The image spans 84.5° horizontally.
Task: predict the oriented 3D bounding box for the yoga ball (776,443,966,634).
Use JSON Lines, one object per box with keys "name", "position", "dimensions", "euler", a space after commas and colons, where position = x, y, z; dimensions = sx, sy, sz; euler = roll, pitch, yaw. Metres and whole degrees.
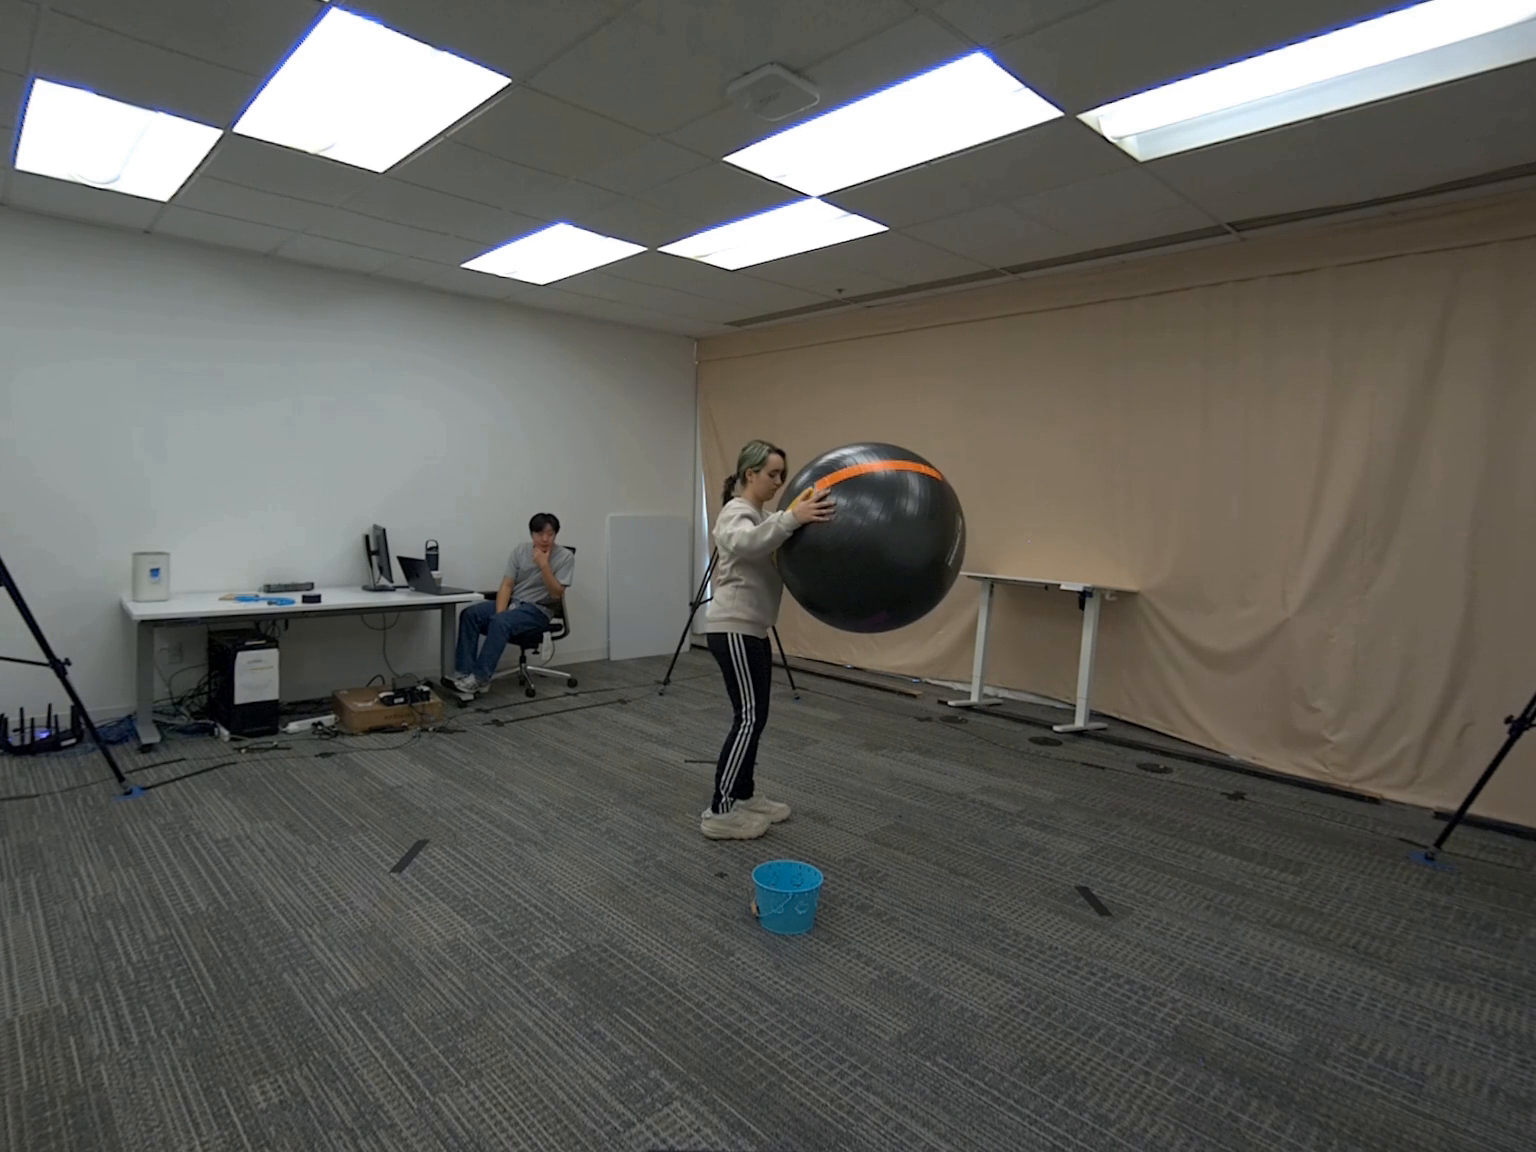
{"name": "yoga ball", "position": [0.393, -0.147, 3.353], "dimensions": [0.757, 0.756, 0.761], "euler": [1, 4, -1]}
